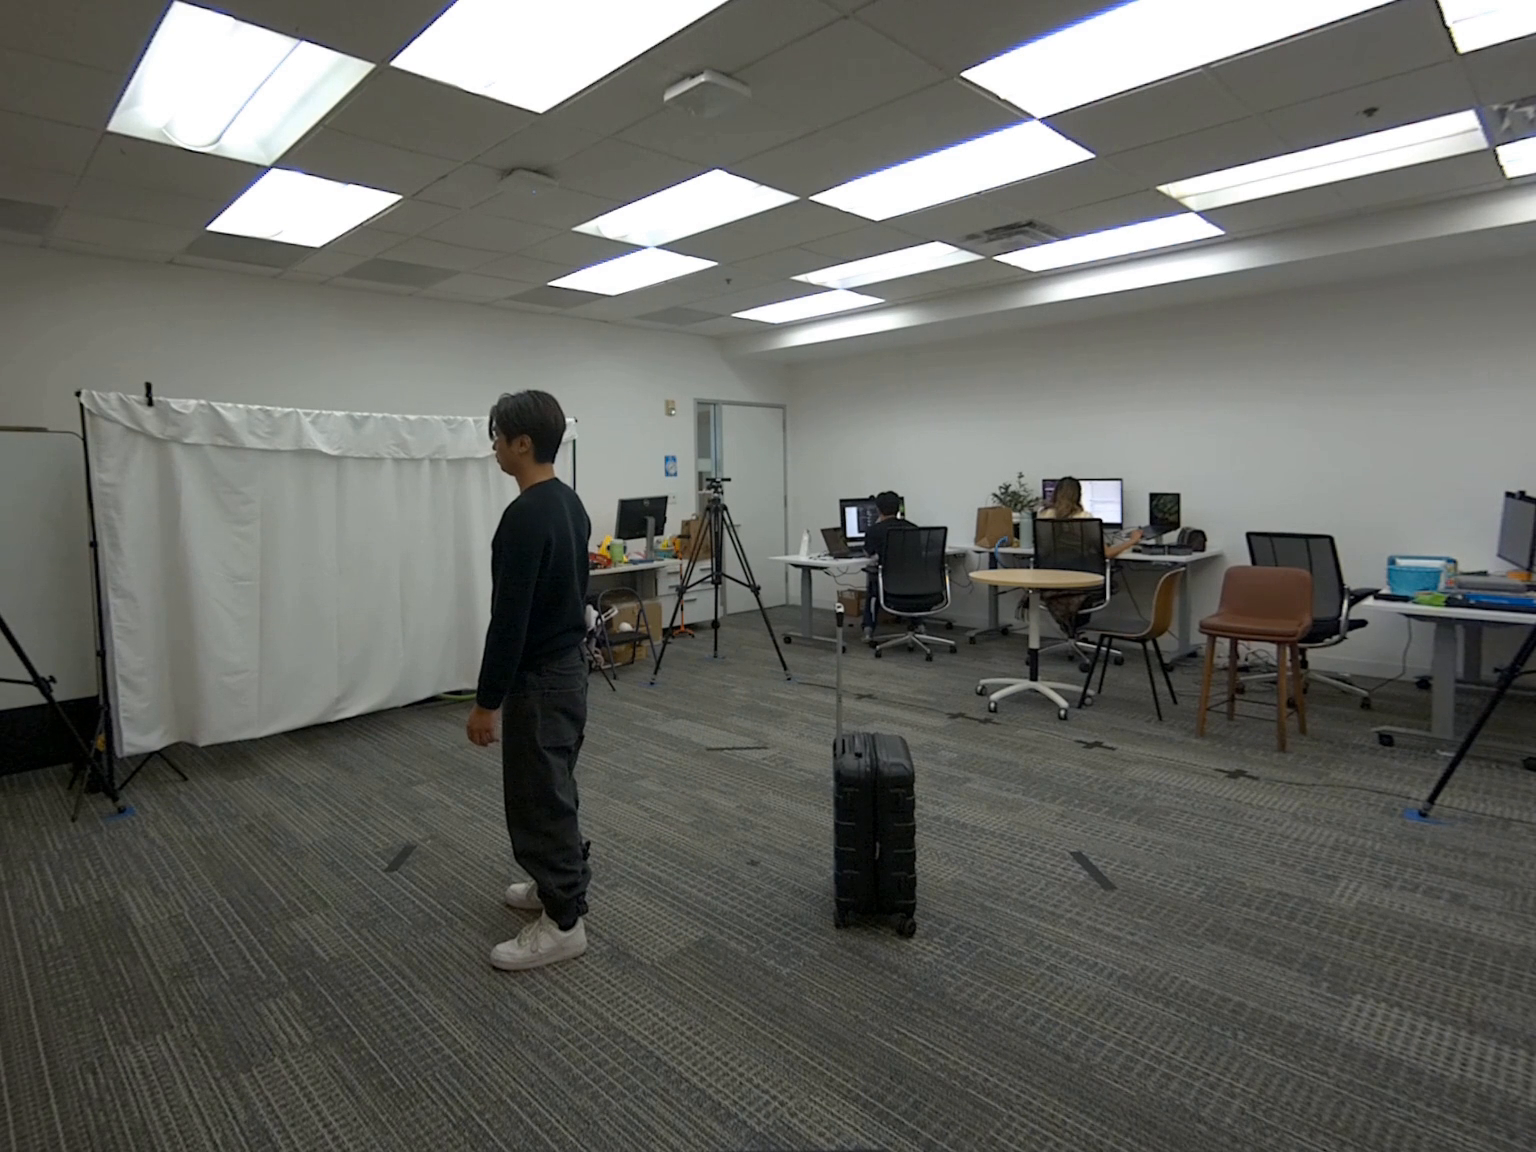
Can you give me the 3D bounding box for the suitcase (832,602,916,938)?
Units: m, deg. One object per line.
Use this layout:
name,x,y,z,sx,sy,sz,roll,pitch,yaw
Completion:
suitcase,0.345,0.600,2.736,0.258,0.975,0.383,0,4,5
